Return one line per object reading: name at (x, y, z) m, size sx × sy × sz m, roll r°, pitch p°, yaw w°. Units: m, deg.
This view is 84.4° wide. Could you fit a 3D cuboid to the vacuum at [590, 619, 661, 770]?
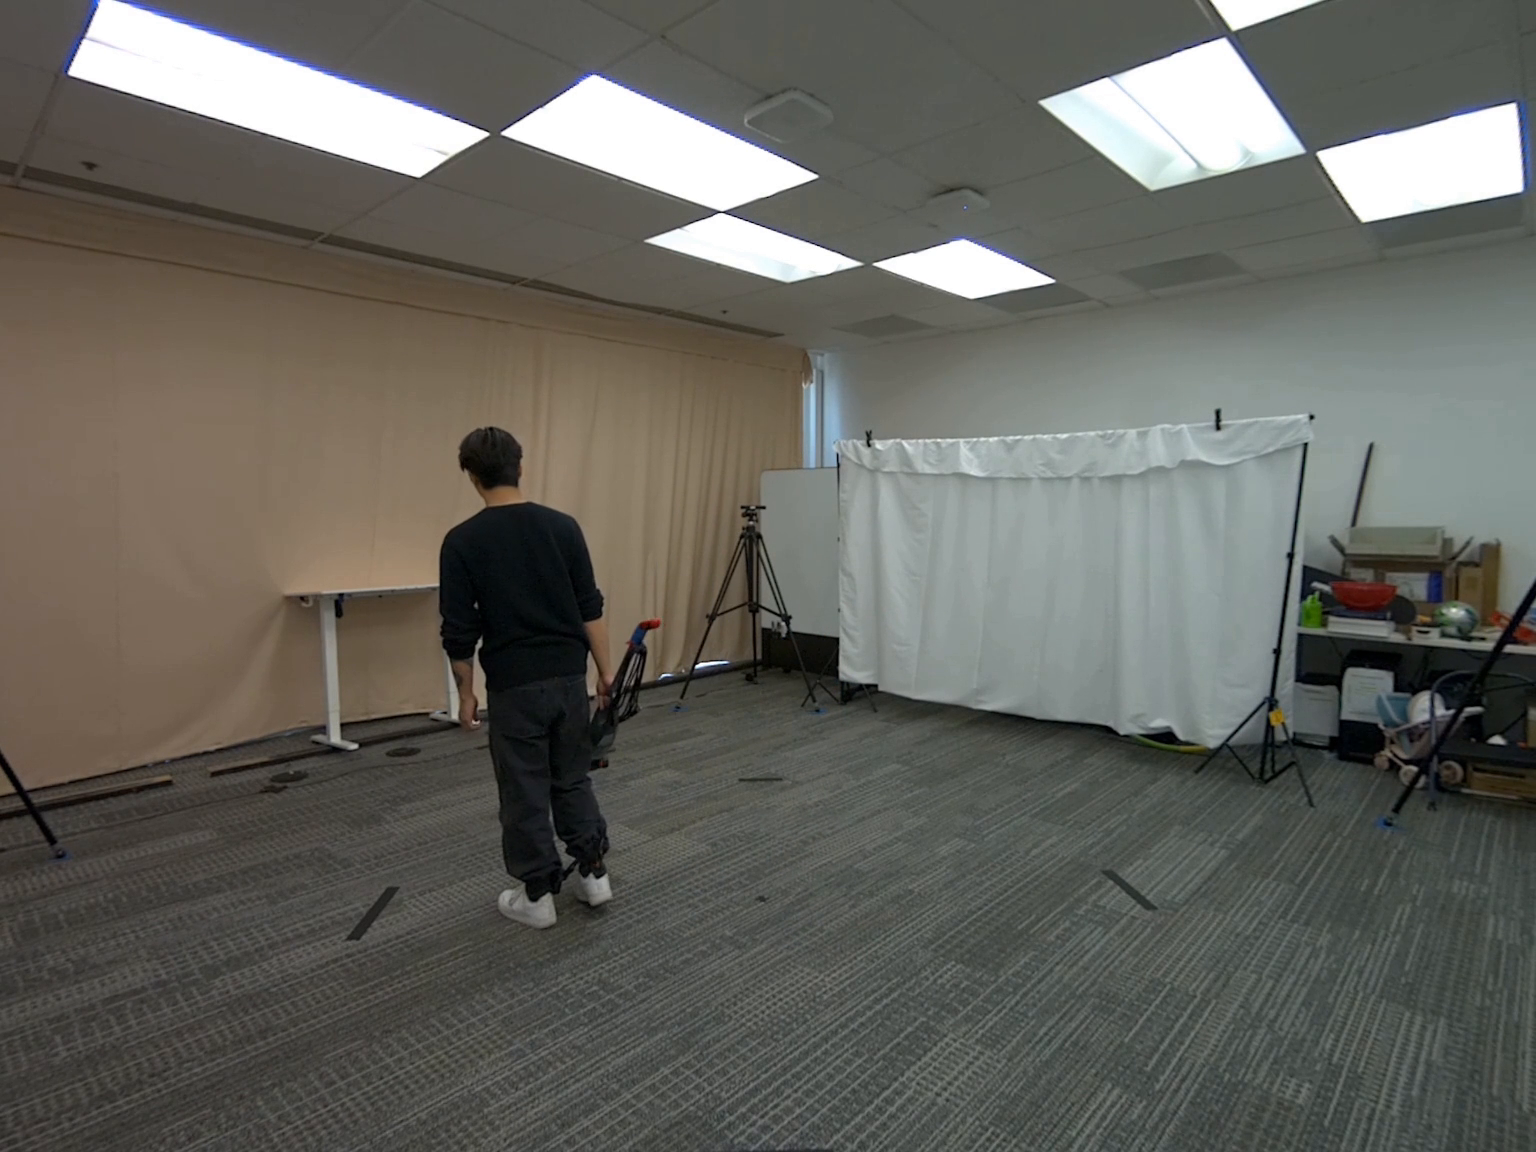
vacuum at (-0.514, 0.429, 2.855) m, size 0.246 × 0.147 × 1.050 m, roll -8°, pitch -29°, yaw -29°
